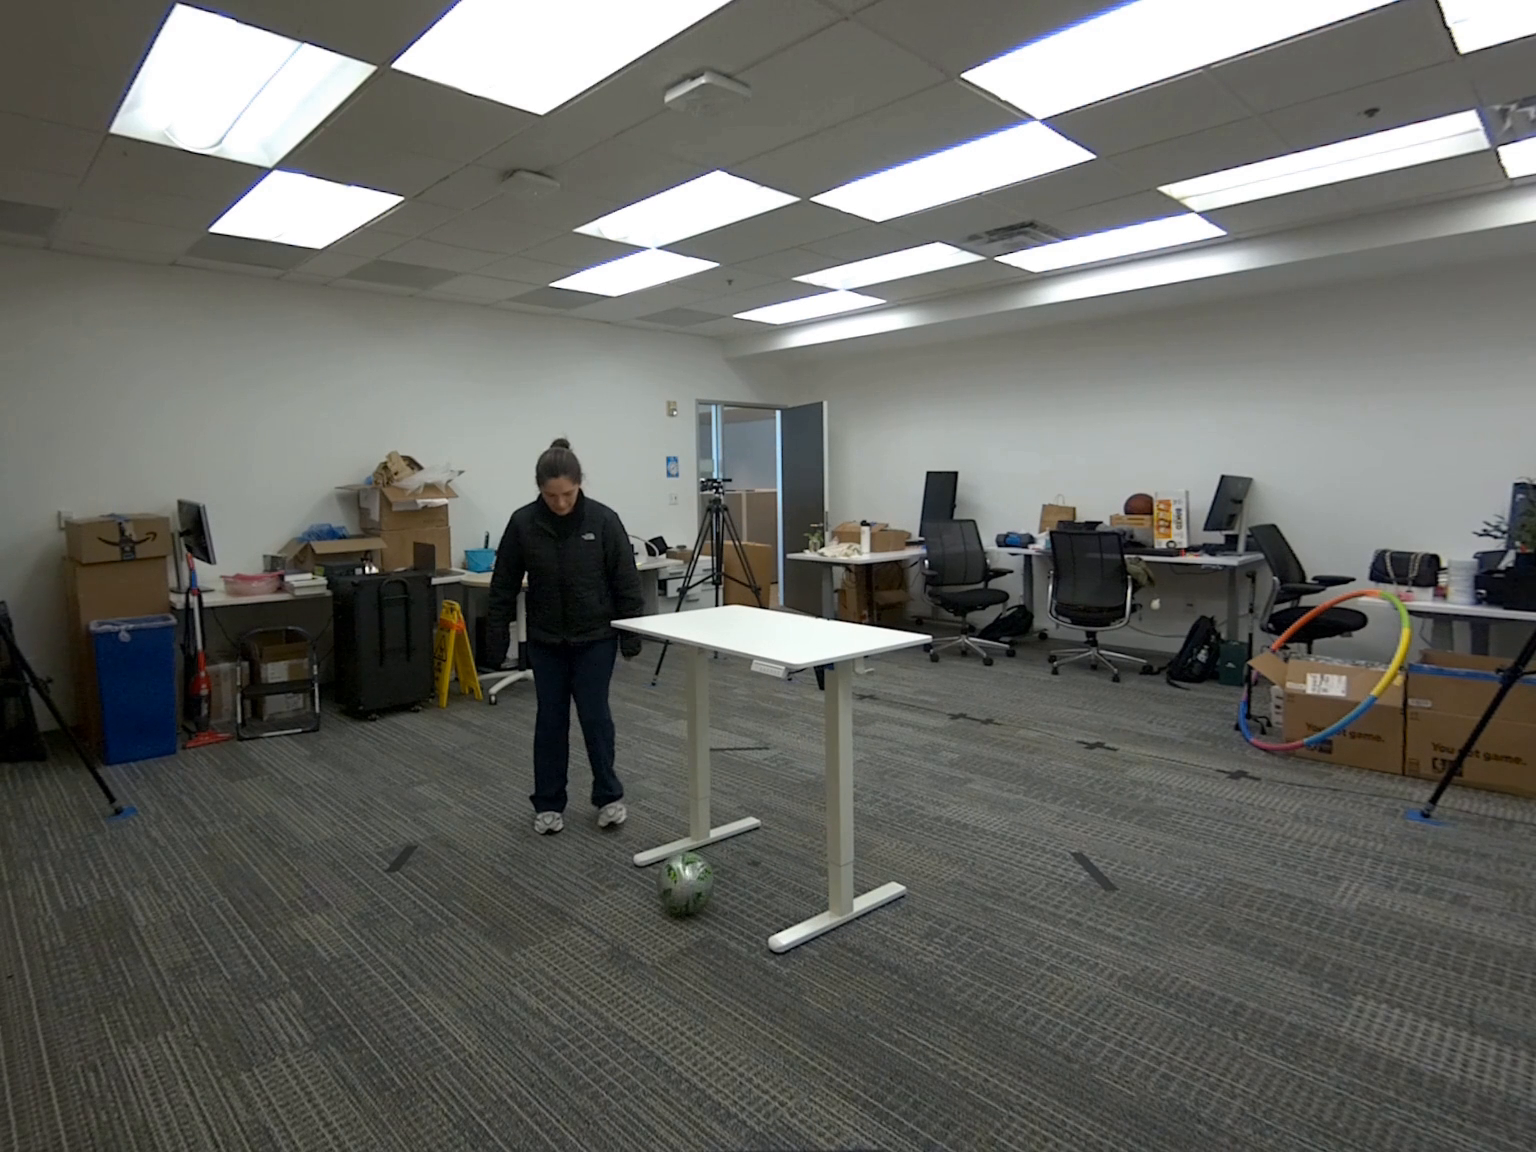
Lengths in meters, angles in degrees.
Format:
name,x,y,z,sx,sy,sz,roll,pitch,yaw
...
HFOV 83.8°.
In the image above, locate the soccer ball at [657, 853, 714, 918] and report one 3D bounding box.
name,x,y,z,sx,sy,sz,roll,pitch,yaw
soccer ball,-0.267,0.998,2.763,0.187,0.187,0.188,-1,5,-2
